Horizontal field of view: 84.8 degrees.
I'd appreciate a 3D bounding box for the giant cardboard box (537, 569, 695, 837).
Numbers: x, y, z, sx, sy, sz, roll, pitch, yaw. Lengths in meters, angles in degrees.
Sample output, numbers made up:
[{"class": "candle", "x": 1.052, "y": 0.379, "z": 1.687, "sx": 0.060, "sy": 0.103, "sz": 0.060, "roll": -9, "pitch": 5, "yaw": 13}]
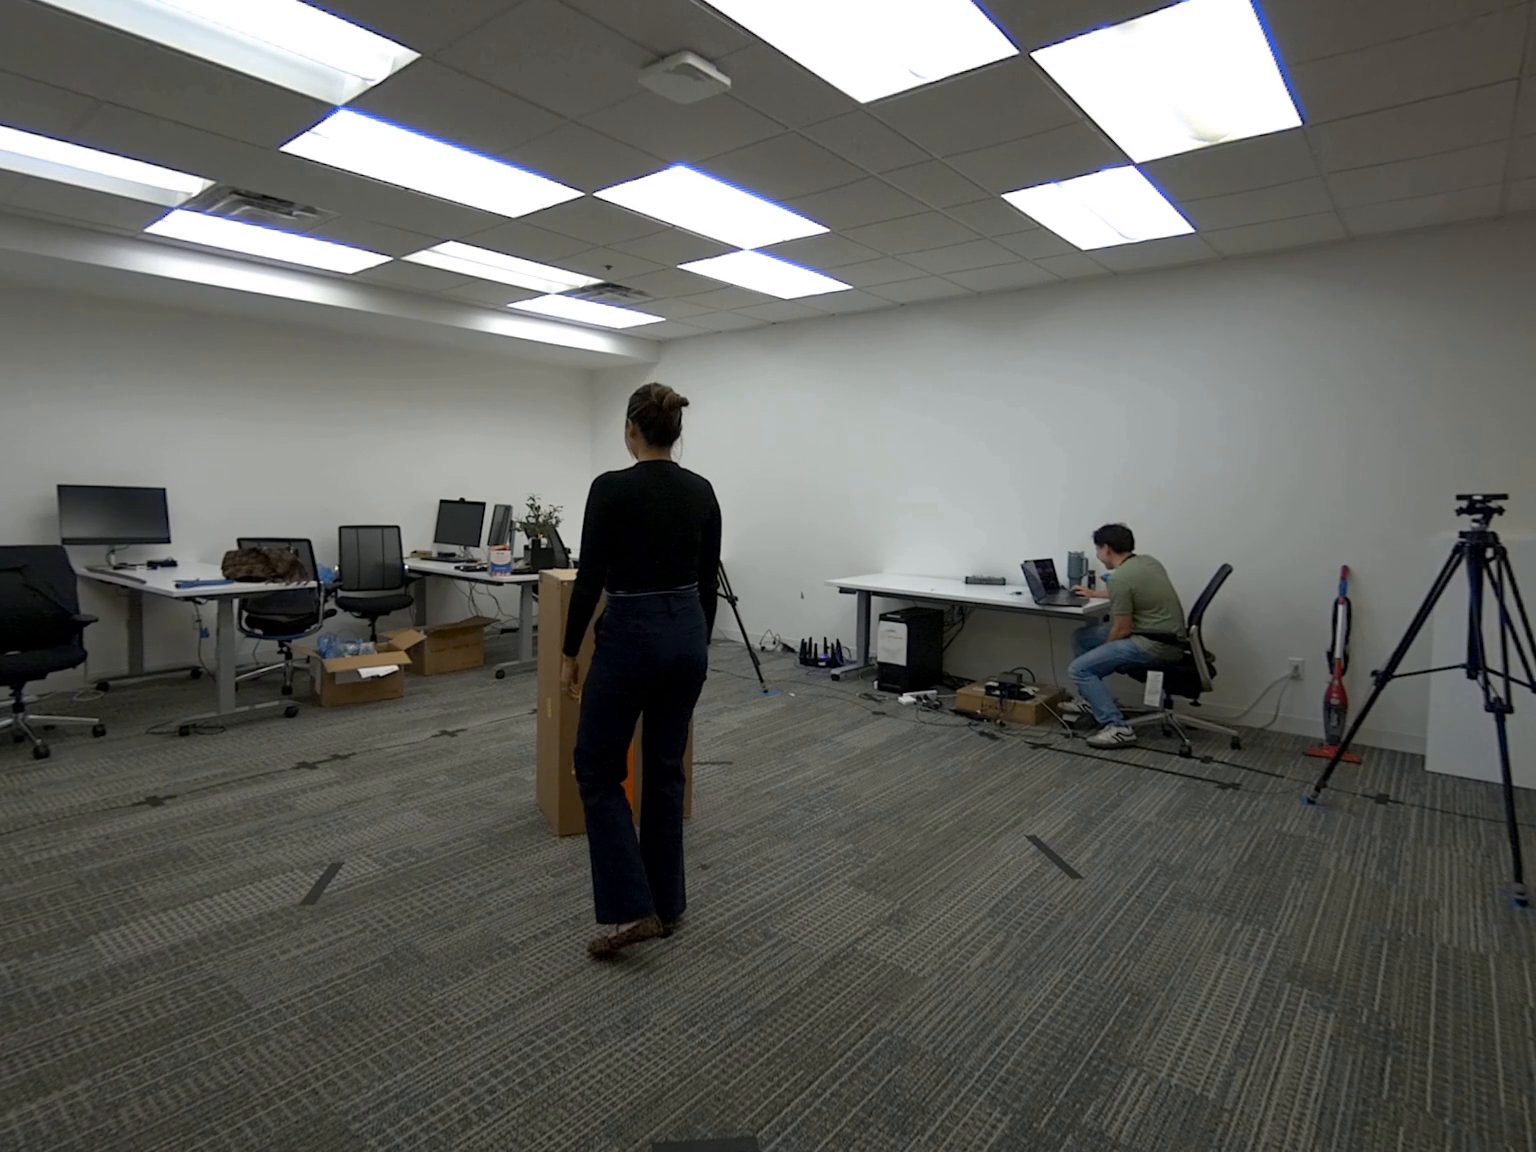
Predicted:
[{"class": "giant cardboard box", "x": -0.669, "y": 0.494, "z": 3.637, "sx": 0.564, "sy": 1.023, "sz": 0.438, "roll": 0, "pitch": 3, "yaw": -26}]
